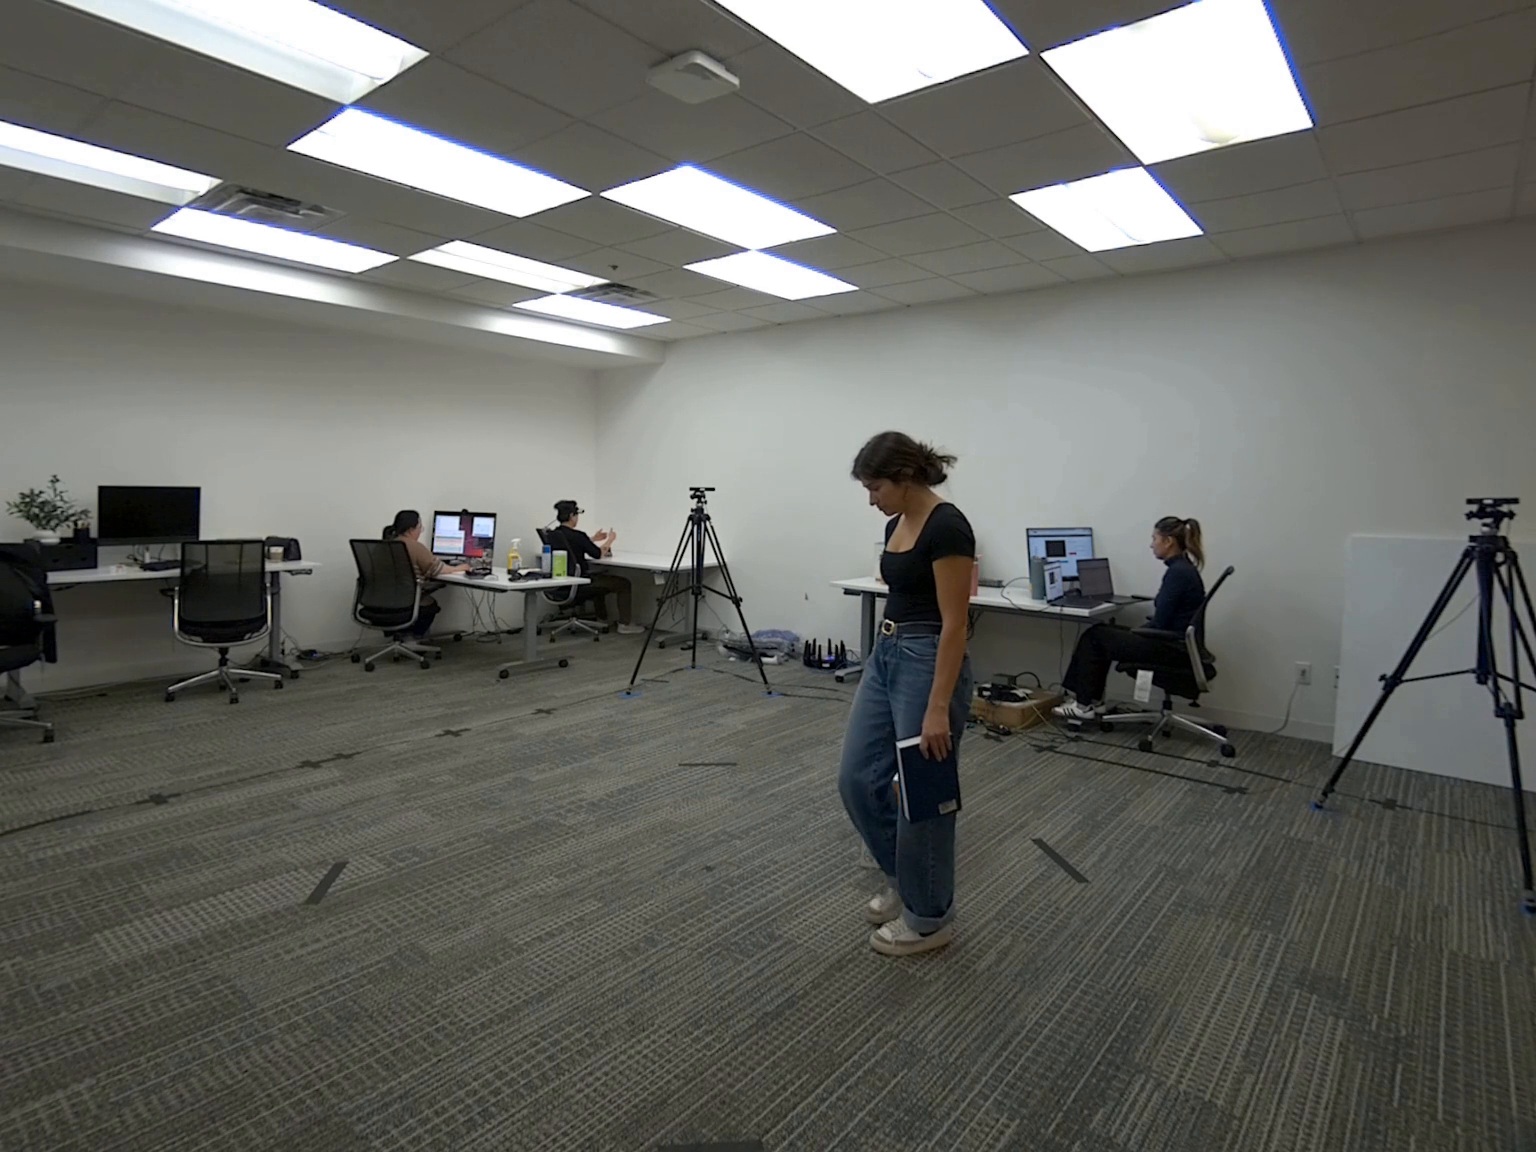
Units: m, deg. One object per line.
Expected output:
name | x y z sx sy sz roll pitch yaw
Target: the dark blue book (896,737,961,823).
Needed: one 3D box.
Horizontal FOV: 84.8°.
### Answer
dark blue book | 0.447 0.562 2.399 0.162 0.241 0.046 -10 14 -10
